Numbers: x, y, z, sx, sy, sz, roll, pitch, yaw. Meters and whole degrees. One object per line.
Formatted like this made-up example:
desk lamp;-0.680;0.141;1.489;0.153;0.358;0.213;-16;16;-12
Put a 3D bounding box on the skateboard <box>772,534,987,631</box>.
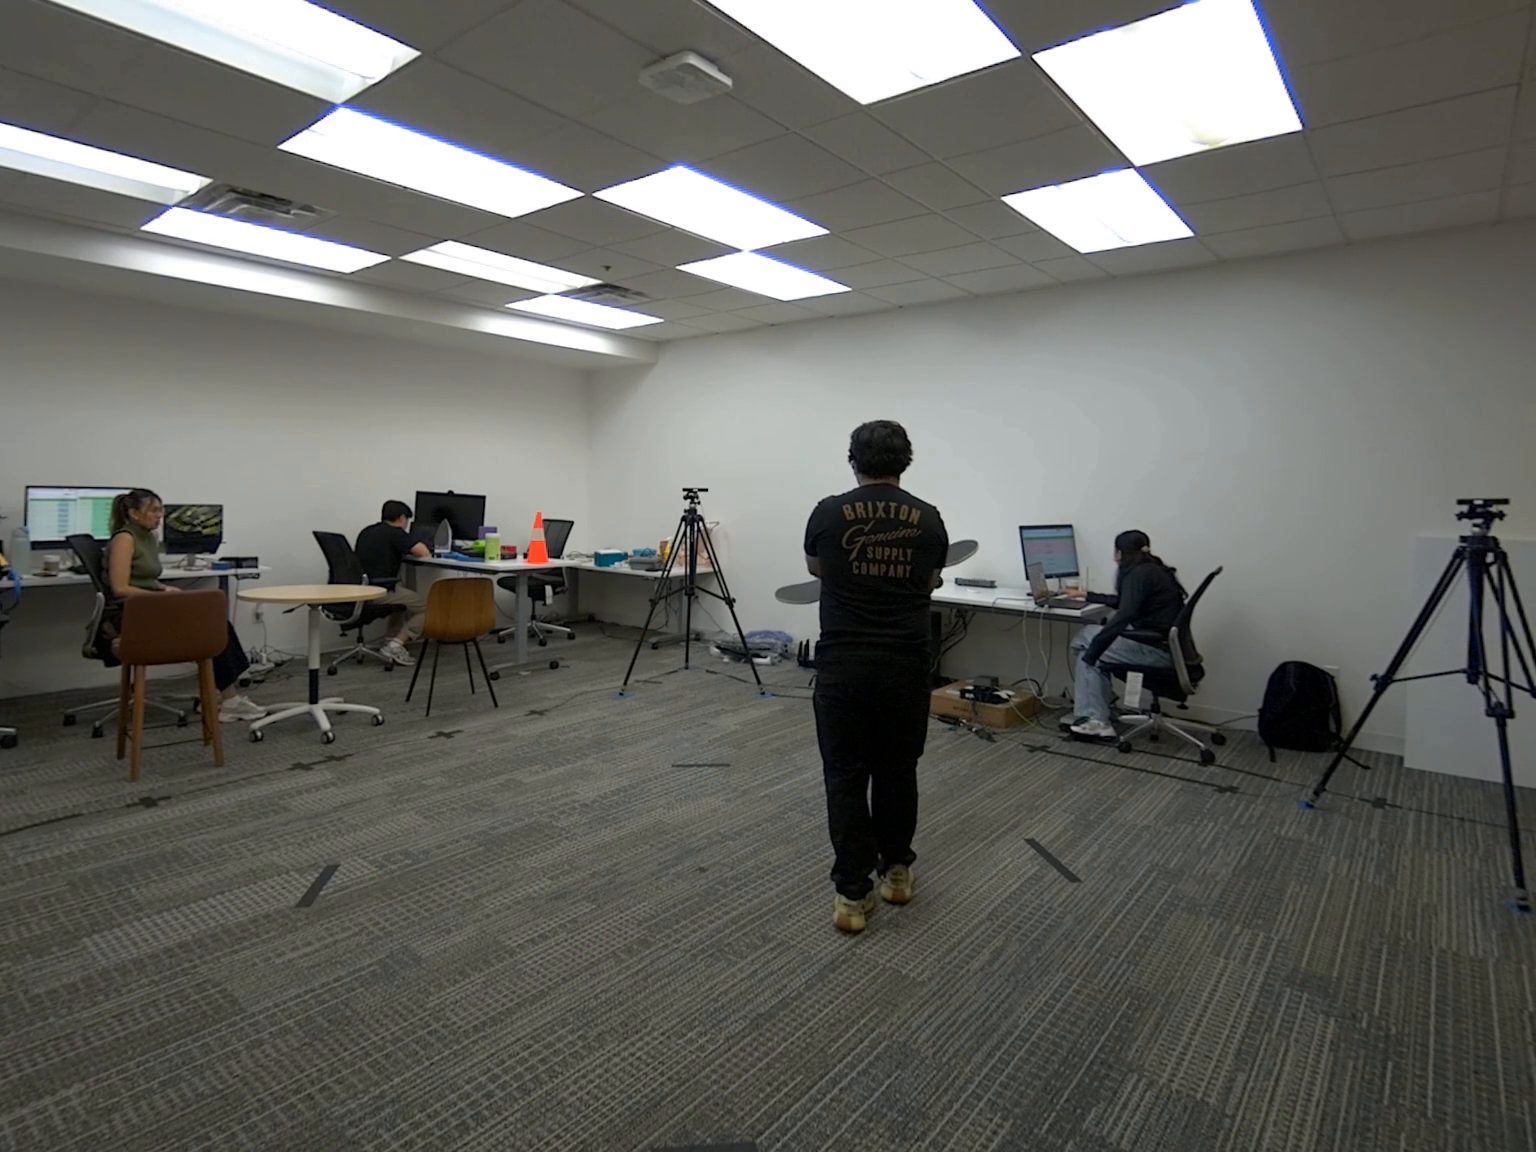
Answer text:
skateboard;0.413;0.022;3.235;0.789;0.108;0.196;-15;18;5
